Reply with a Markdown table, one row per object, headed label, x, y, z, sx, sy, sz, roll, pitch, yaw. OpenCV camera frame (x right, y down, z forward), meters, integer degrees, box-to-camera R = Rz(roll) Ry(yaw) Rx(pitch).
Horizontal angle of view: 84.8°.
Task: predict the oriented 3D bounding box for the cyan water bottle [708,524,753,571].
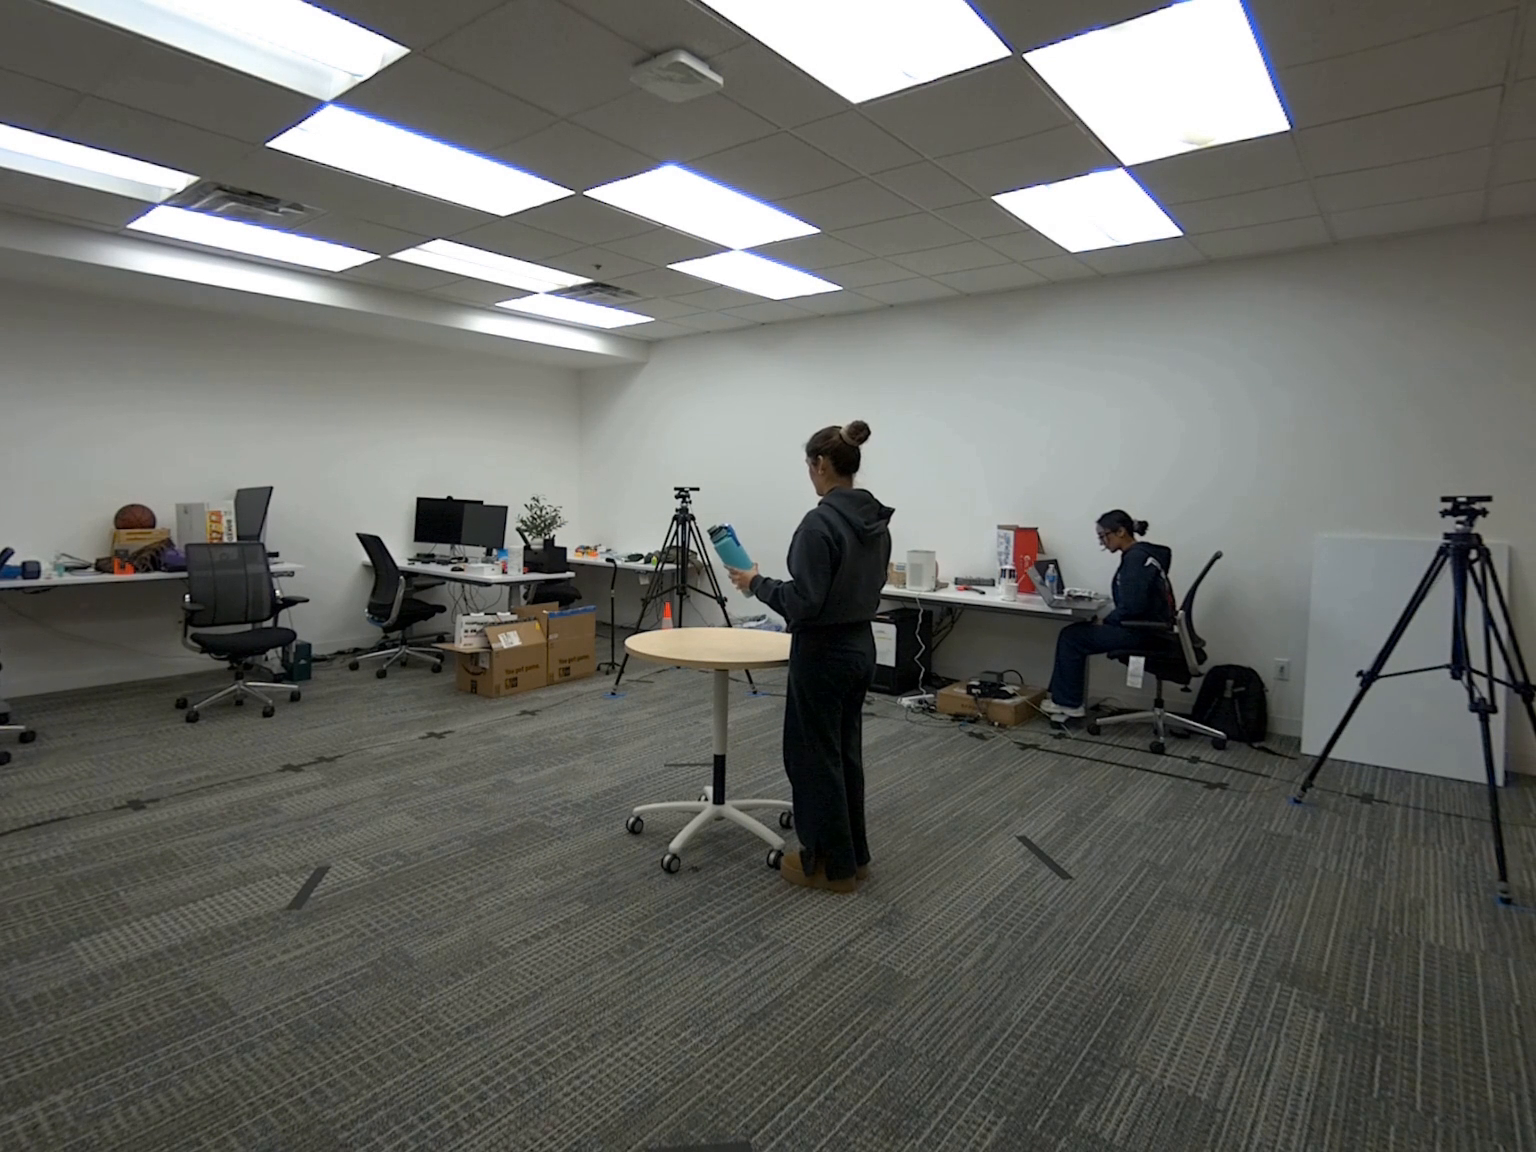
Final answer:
| label | x | y | z | sx | sy | sz | roll | pitch | yaw |
| --- | --- | --- | --- | --- | --- | --- | --- | --- | --- |
| cyan water bottle | -0.110 | -0.078 | 3.051 | 0.092 | 0.282 | 0.093 | -31 | 3 | 1 |
